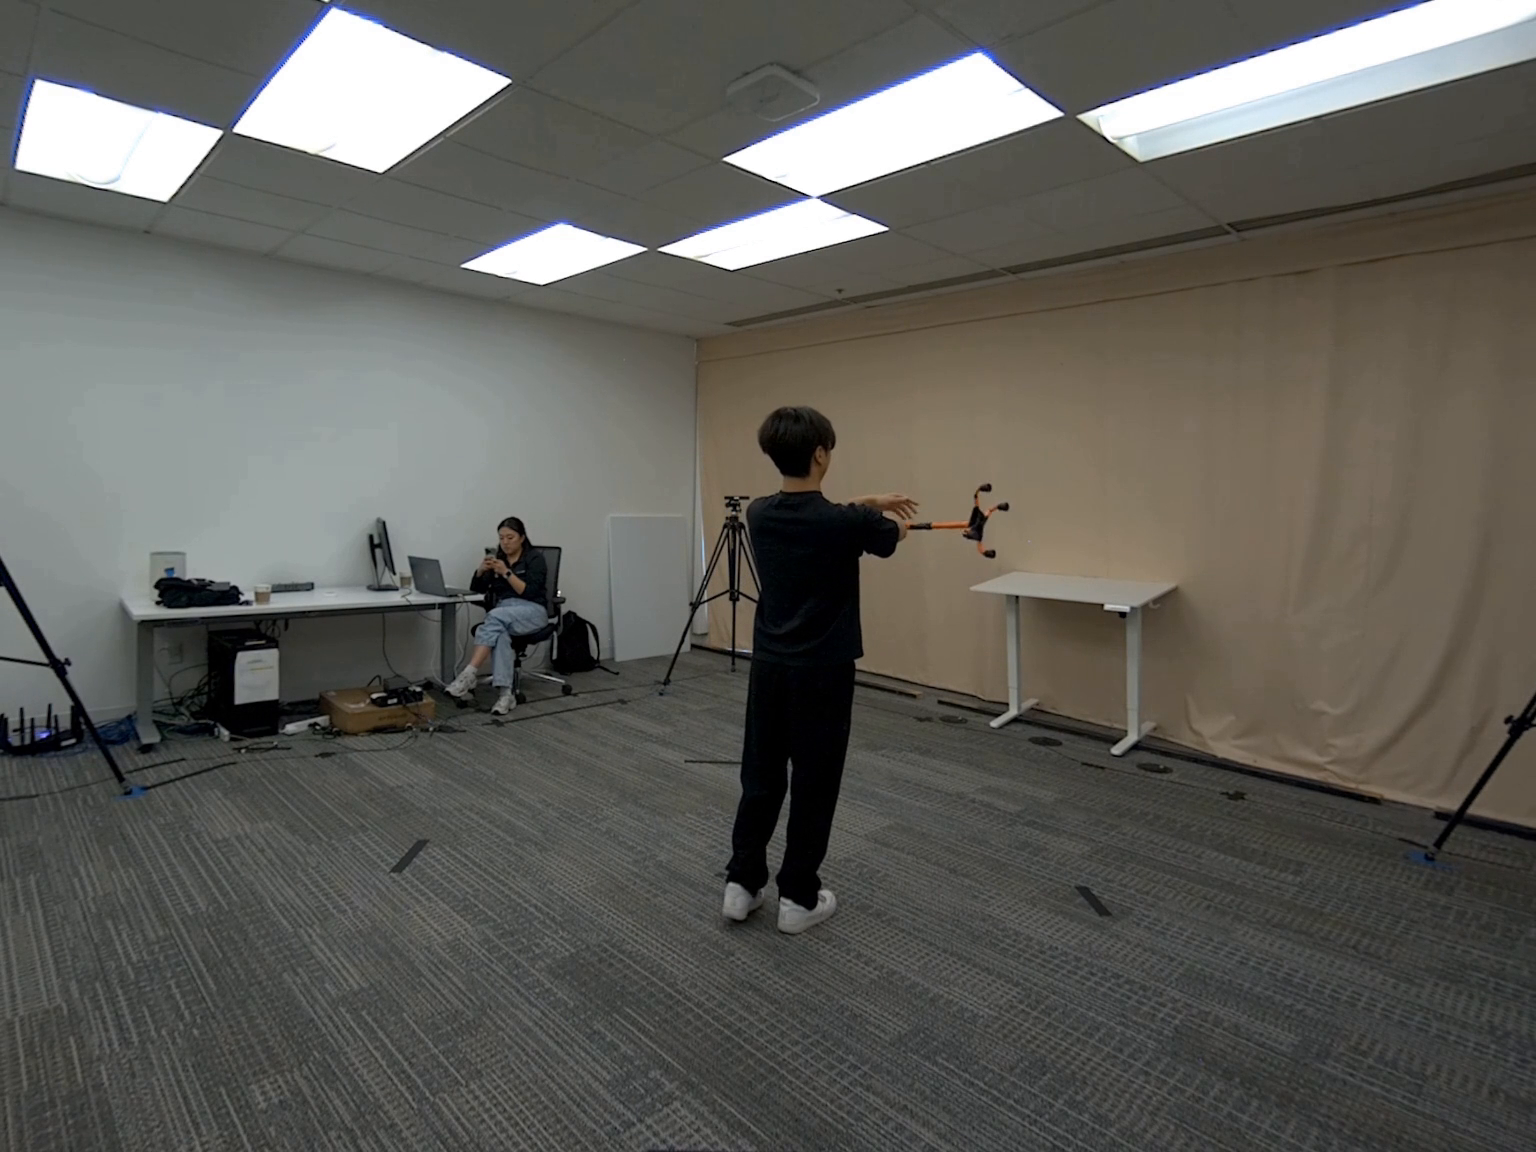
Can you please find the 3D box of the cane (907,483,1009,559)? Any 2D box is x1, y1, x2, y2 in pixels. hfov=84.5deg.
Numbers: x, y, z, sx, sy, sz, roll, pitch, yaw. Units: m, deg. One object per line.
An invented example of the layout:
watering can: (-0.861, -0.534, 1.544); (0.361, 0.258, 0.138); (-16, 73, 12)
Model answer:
cane: (0.397, -0.184, 3.044); (0.929, 0.208, 0.147); (1, -29, 47)
